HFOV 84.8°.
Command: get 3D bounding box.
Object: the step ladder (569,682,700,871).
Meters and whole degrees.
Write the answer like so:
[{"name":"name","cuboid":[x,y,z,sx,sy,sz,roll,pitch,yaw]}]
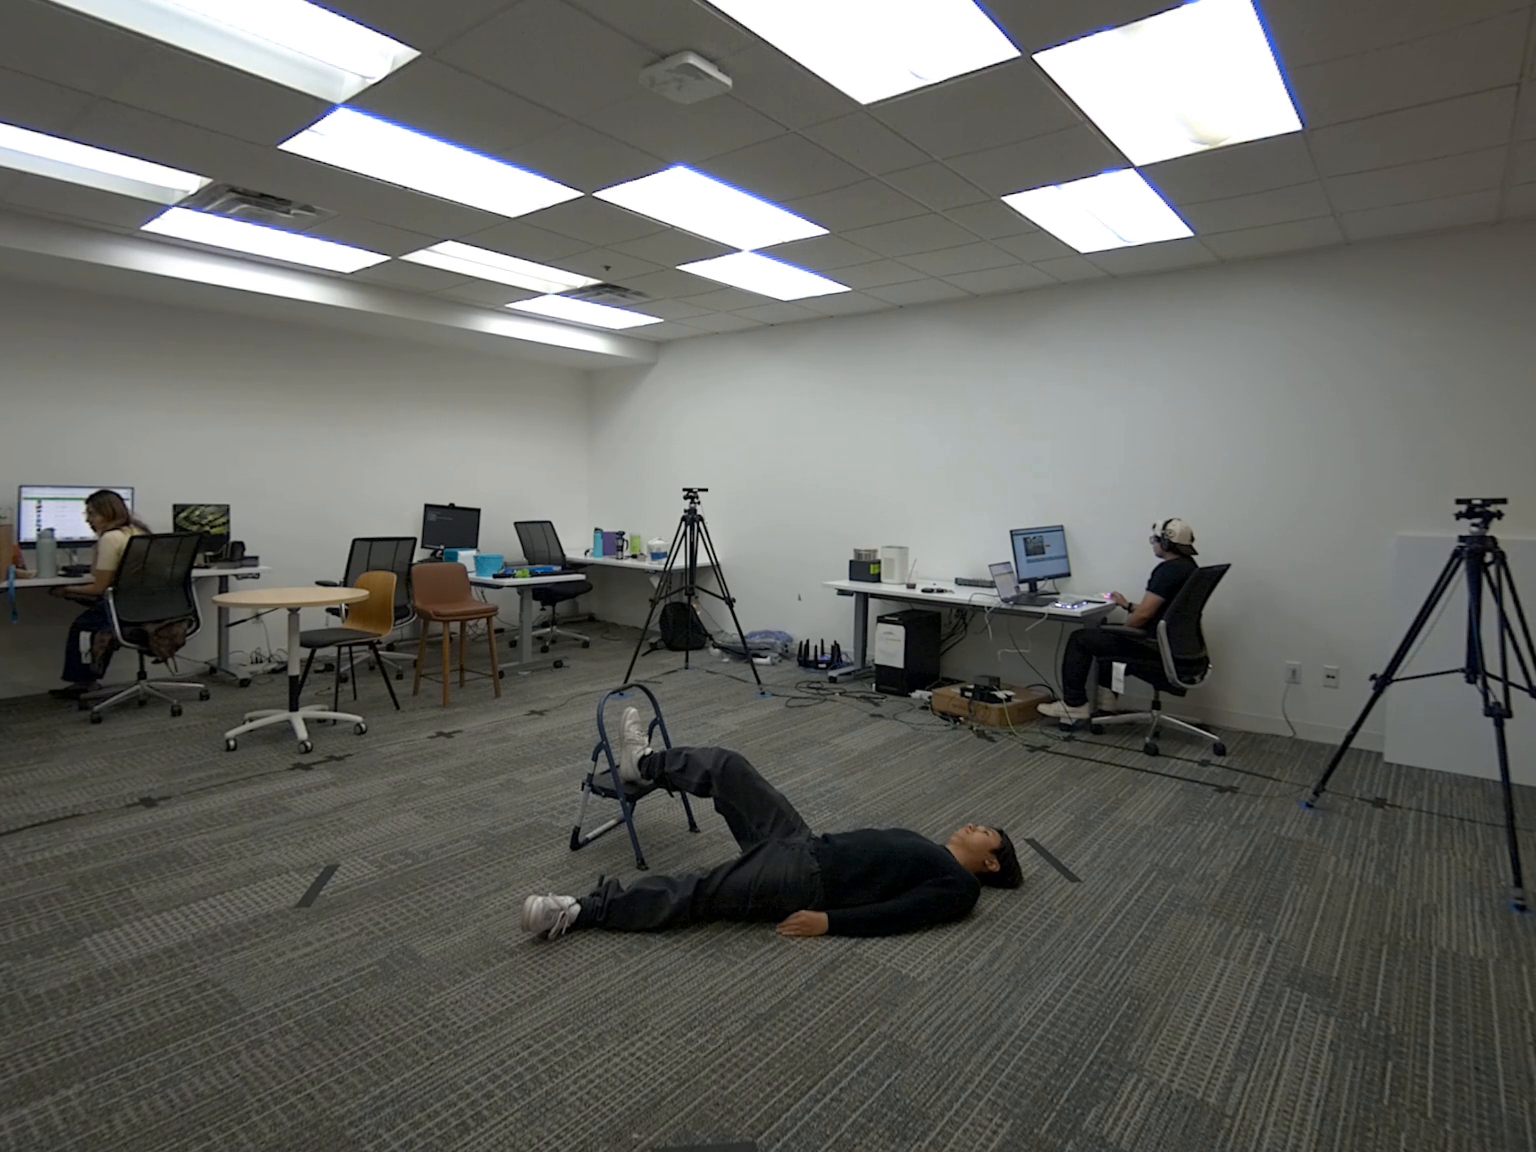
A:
[{"name":"step ladder","cuboid":[-0.526,0.740,3.344,0.358,0.604,0.421,3,4,25]}]
